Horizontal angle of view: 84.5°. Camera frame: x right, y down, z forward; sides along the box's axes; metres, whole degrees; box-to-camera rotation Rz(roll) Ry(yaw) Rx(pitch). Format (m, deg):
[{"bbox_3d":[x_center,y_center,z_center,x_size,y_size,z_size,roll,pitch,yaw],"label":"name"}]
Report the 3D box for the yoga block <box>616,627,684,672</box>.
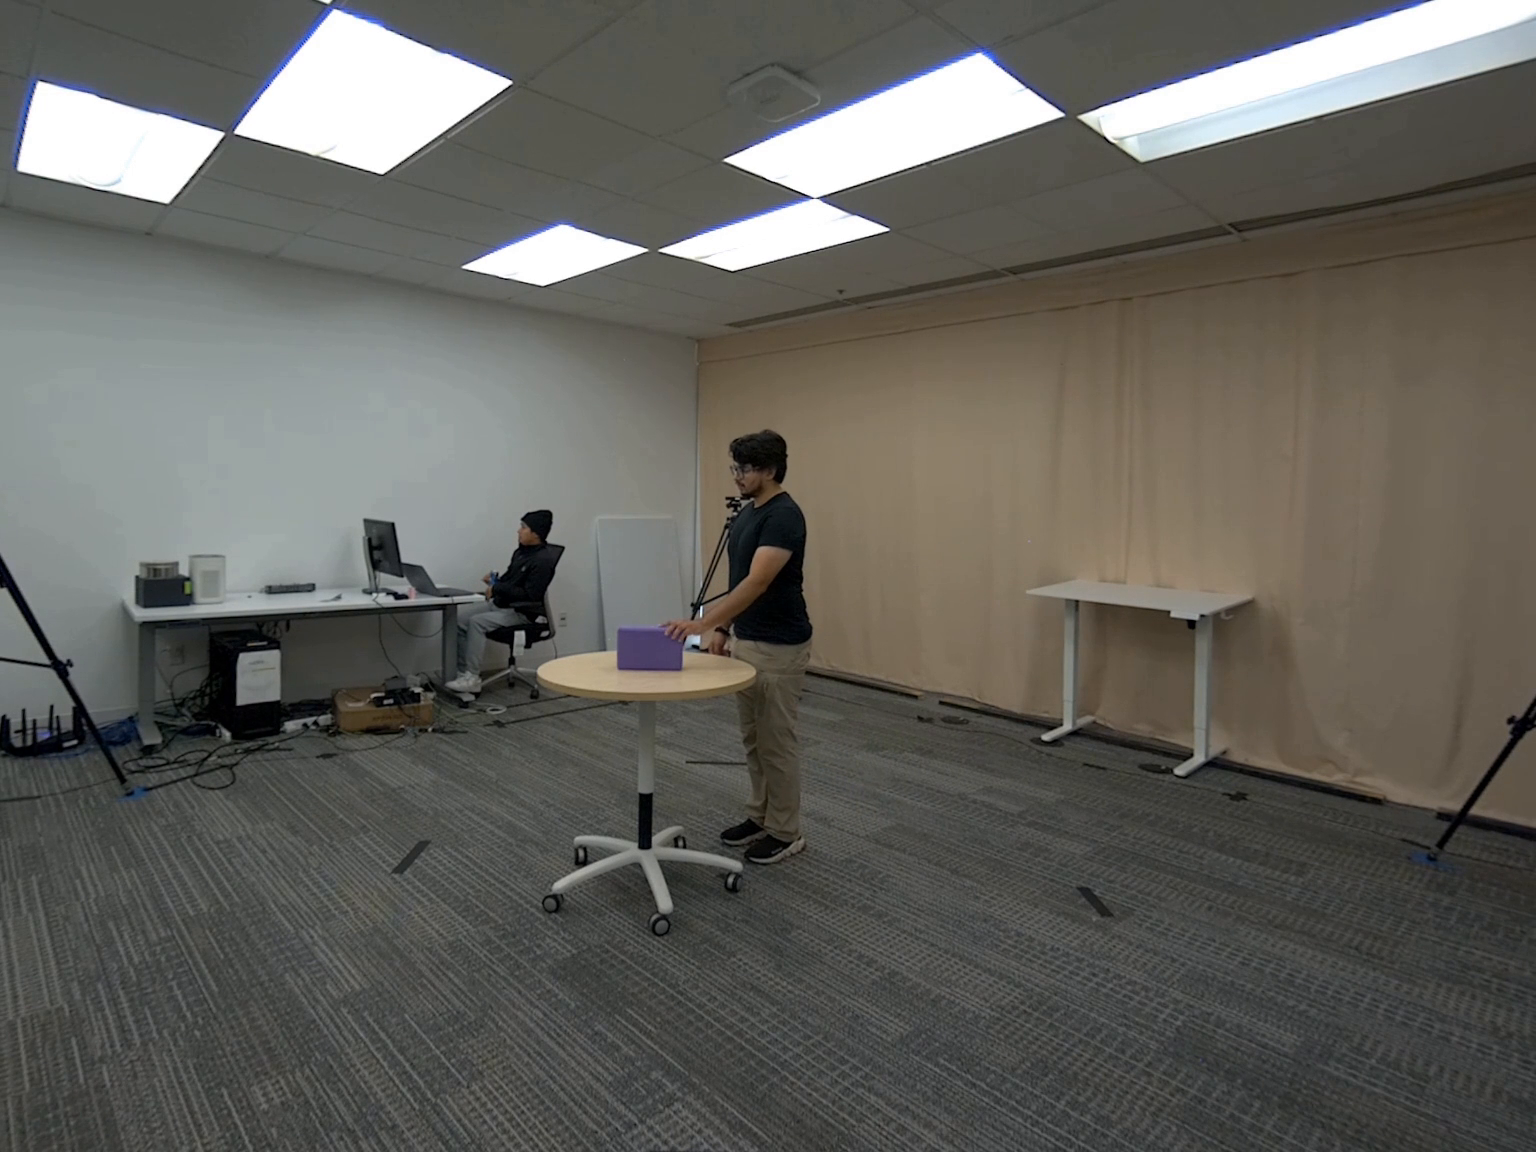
[{"bbox_3d":[-0.423,0.250,2.970,0.229,0.148,0.076,1,3,1],"label":"yoga block"}]
